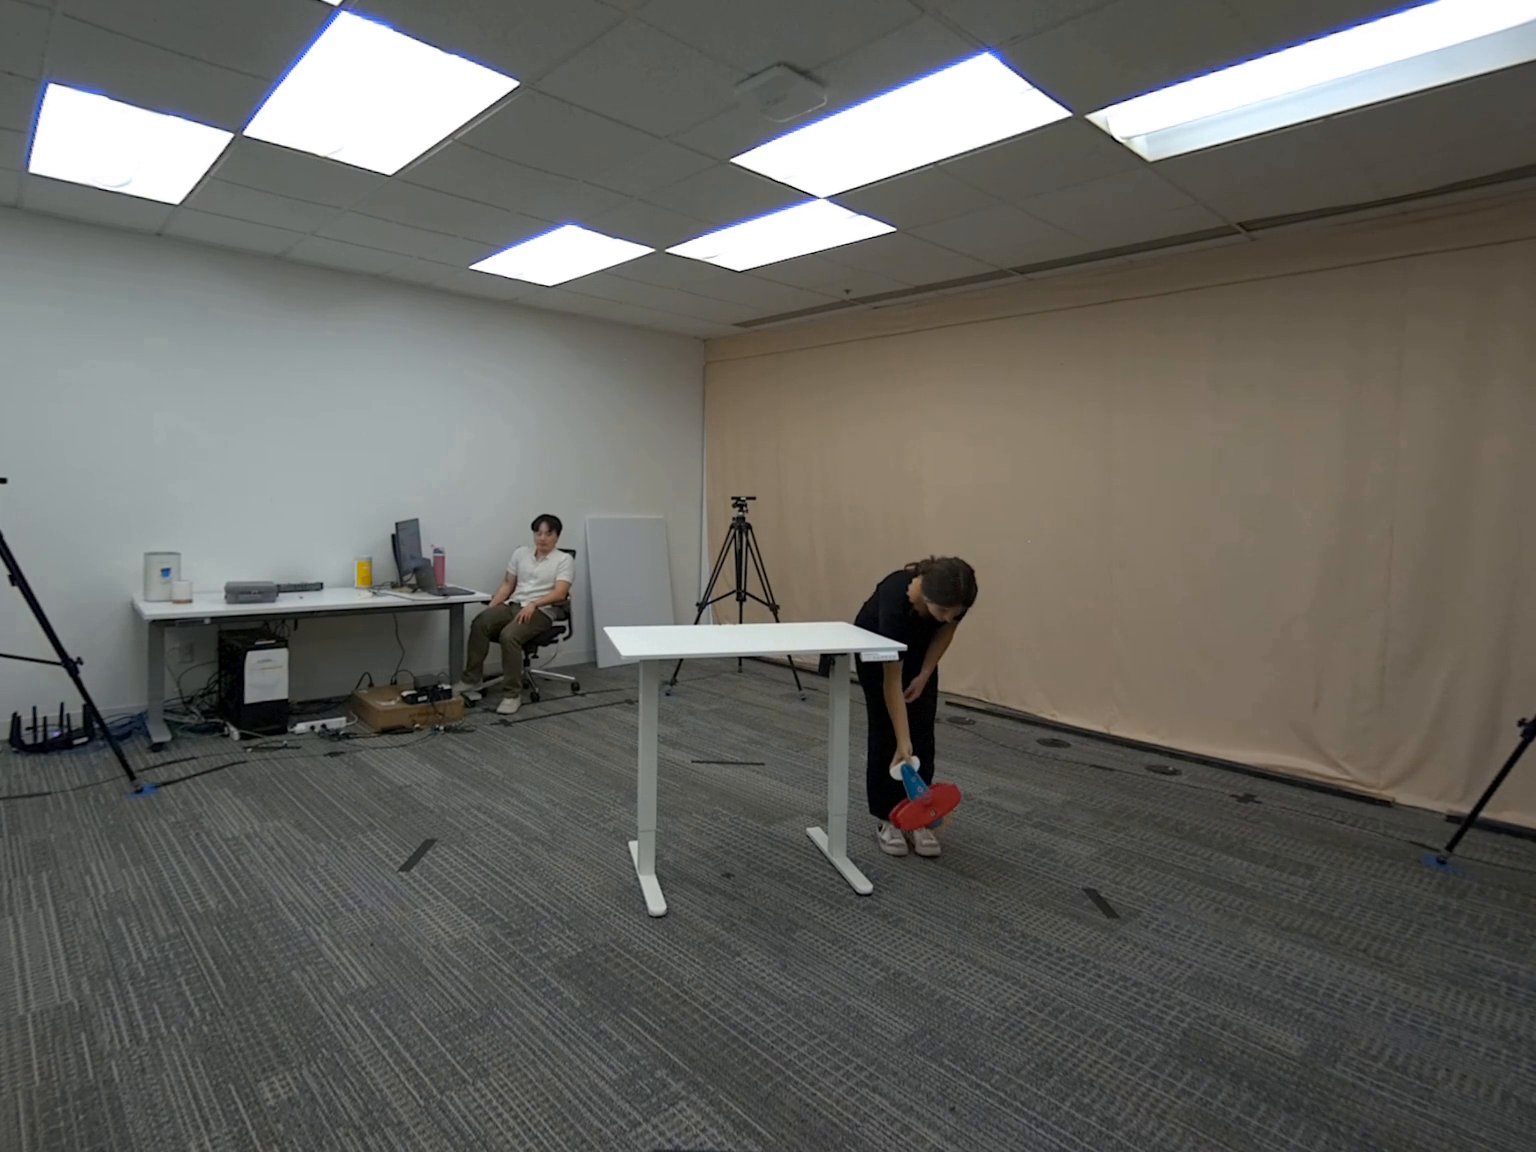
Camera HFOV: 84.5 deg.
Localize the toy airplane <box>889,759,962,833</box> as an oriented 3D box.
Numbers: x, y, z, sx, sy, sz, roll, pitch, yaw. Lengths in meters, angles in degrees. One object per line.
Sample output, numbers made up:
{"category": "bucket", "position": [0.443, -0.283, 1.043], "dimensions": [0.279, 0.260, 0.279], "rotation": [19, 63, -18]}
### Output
{"category": "toy airplane", "position": [0.523, 0.806, 3.038], "dimensions": [0.256, 0.251, 0.158], "rotation": [40, -10, -12]}
